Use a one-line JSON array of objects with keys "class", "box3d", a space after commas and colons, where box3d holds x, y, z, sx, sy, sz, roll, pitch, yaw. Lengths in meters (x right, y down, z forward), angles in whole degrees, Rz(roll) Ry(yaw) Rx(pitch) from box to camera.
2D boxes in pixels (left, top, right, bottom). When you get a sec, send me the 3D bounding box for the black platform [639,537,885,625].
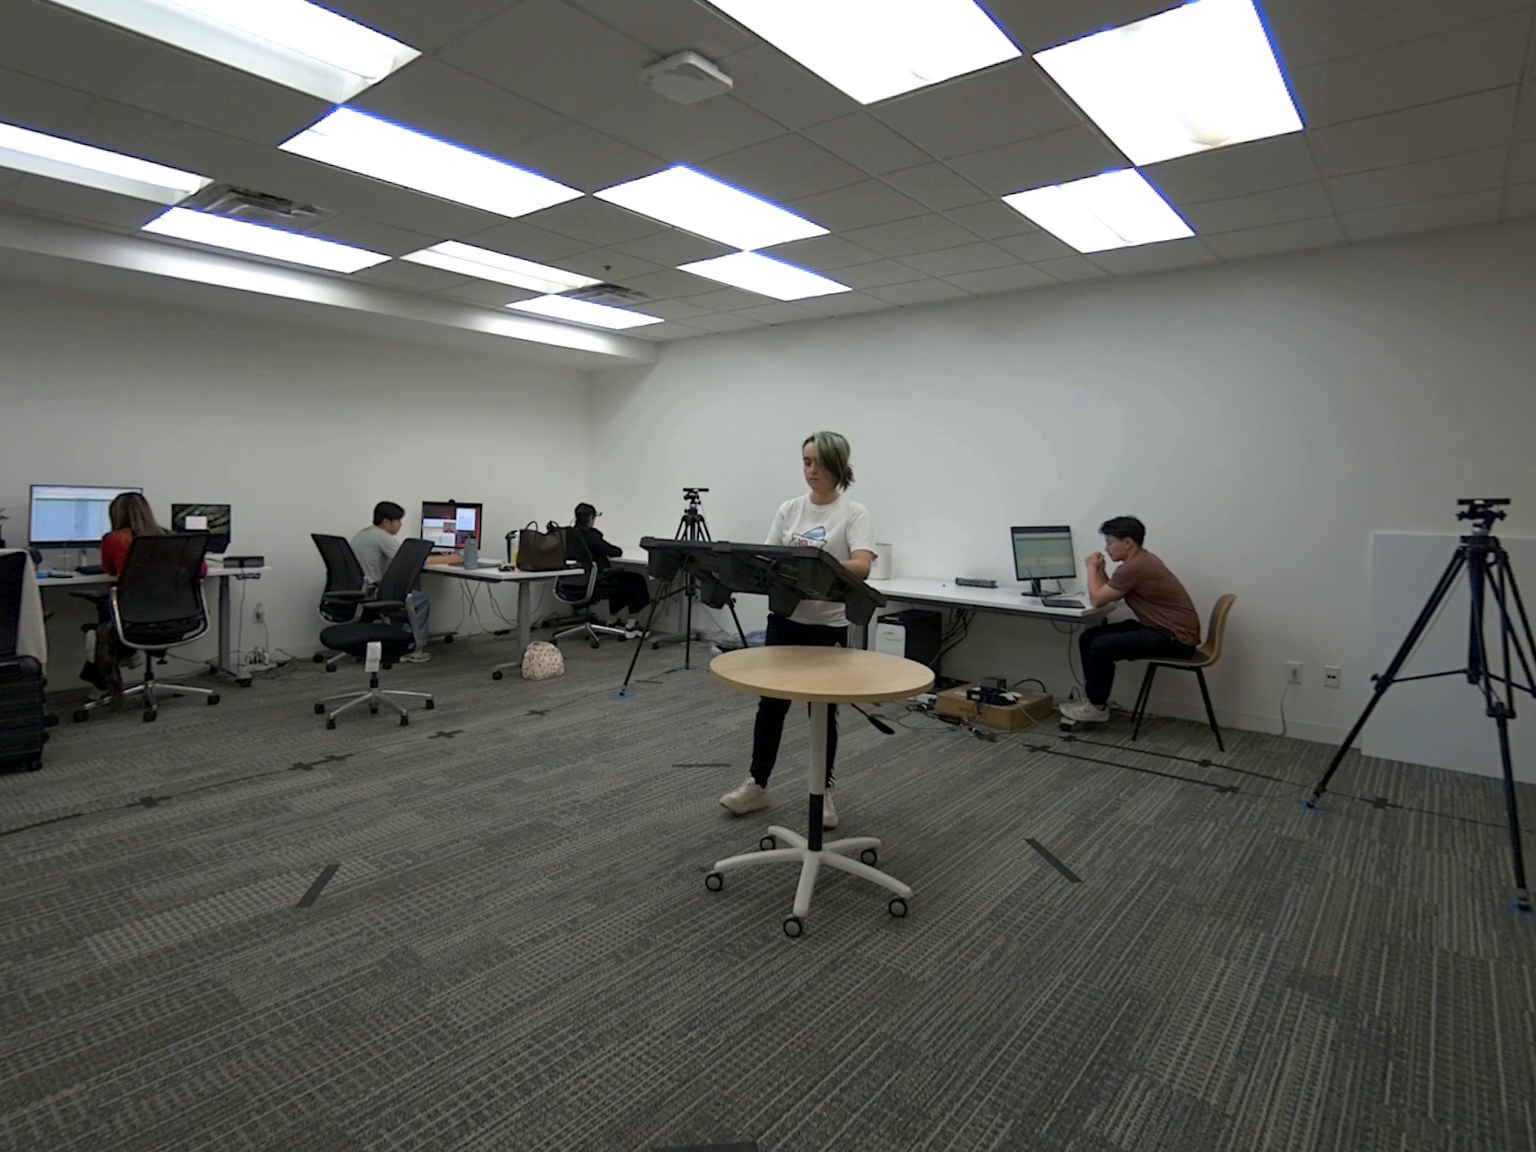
[{"class": "black platform", "box3d": [-0.046, 0.024, 3.263, 0.831, 0.145, 0.581, 4, -15, 34]}]
